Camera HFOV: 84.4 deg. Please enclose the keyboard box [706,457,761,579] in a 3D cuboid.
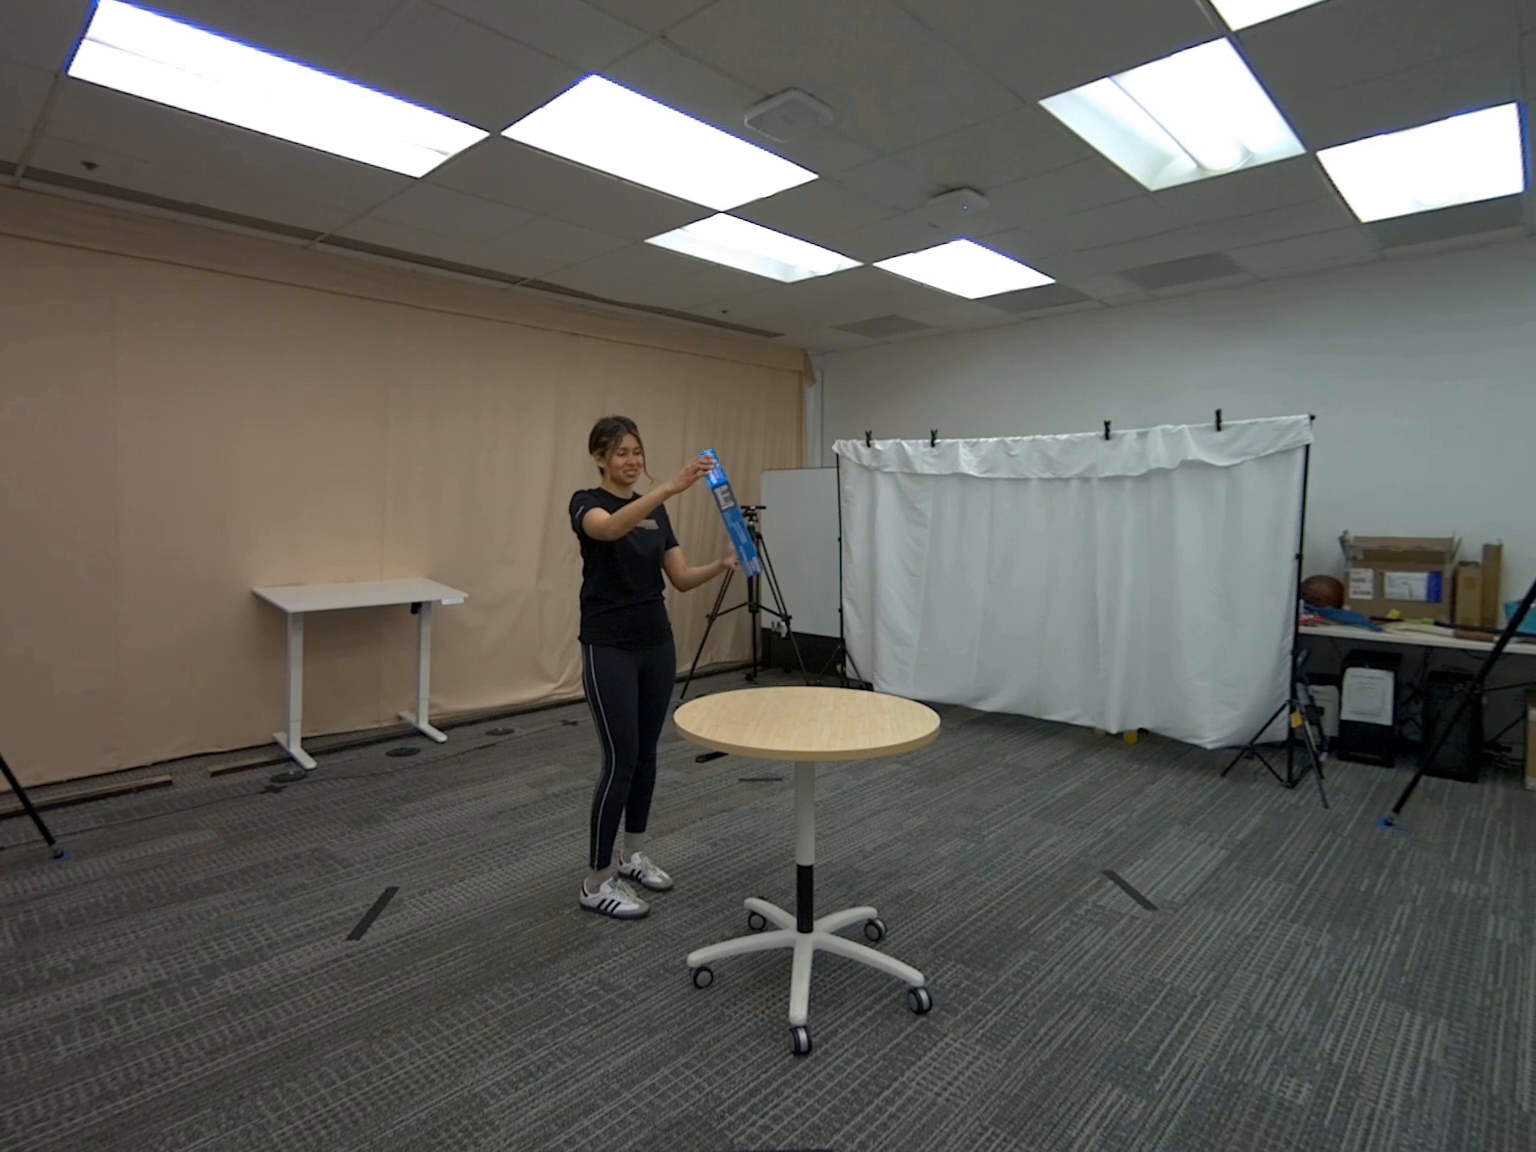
[{"bbox_3d":[-0.116,-0.196,2.724,0.059,0.424,0.181,-21,45,0],"label":"keyboard box"}]
